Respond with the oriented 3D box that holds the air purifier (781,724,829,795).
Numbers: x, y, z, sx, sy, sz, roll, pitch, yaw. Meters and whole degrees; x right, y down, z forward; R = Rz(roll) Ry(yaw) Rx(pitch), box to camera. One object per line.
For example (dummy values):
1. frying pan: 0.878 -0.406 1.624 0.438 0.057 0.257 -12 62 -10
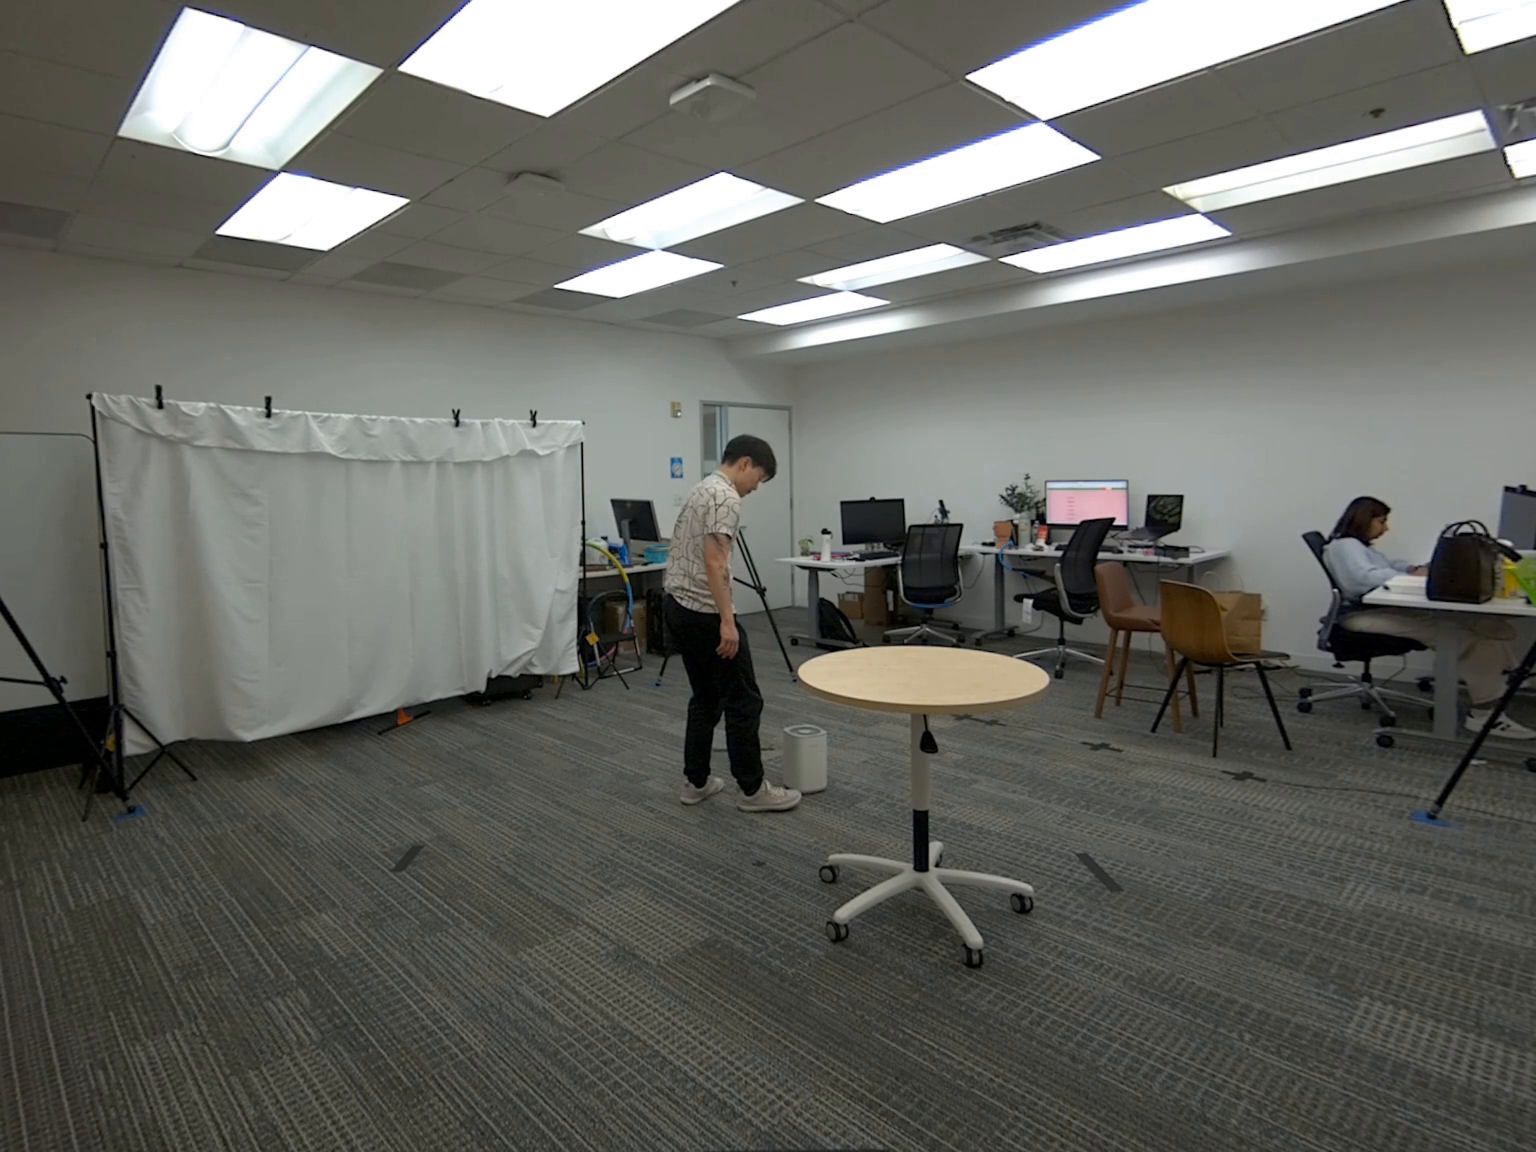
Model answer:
1. air purifier: 0.162 0.820 3.849 0.167 0.264 0.176 -2 5 -29
